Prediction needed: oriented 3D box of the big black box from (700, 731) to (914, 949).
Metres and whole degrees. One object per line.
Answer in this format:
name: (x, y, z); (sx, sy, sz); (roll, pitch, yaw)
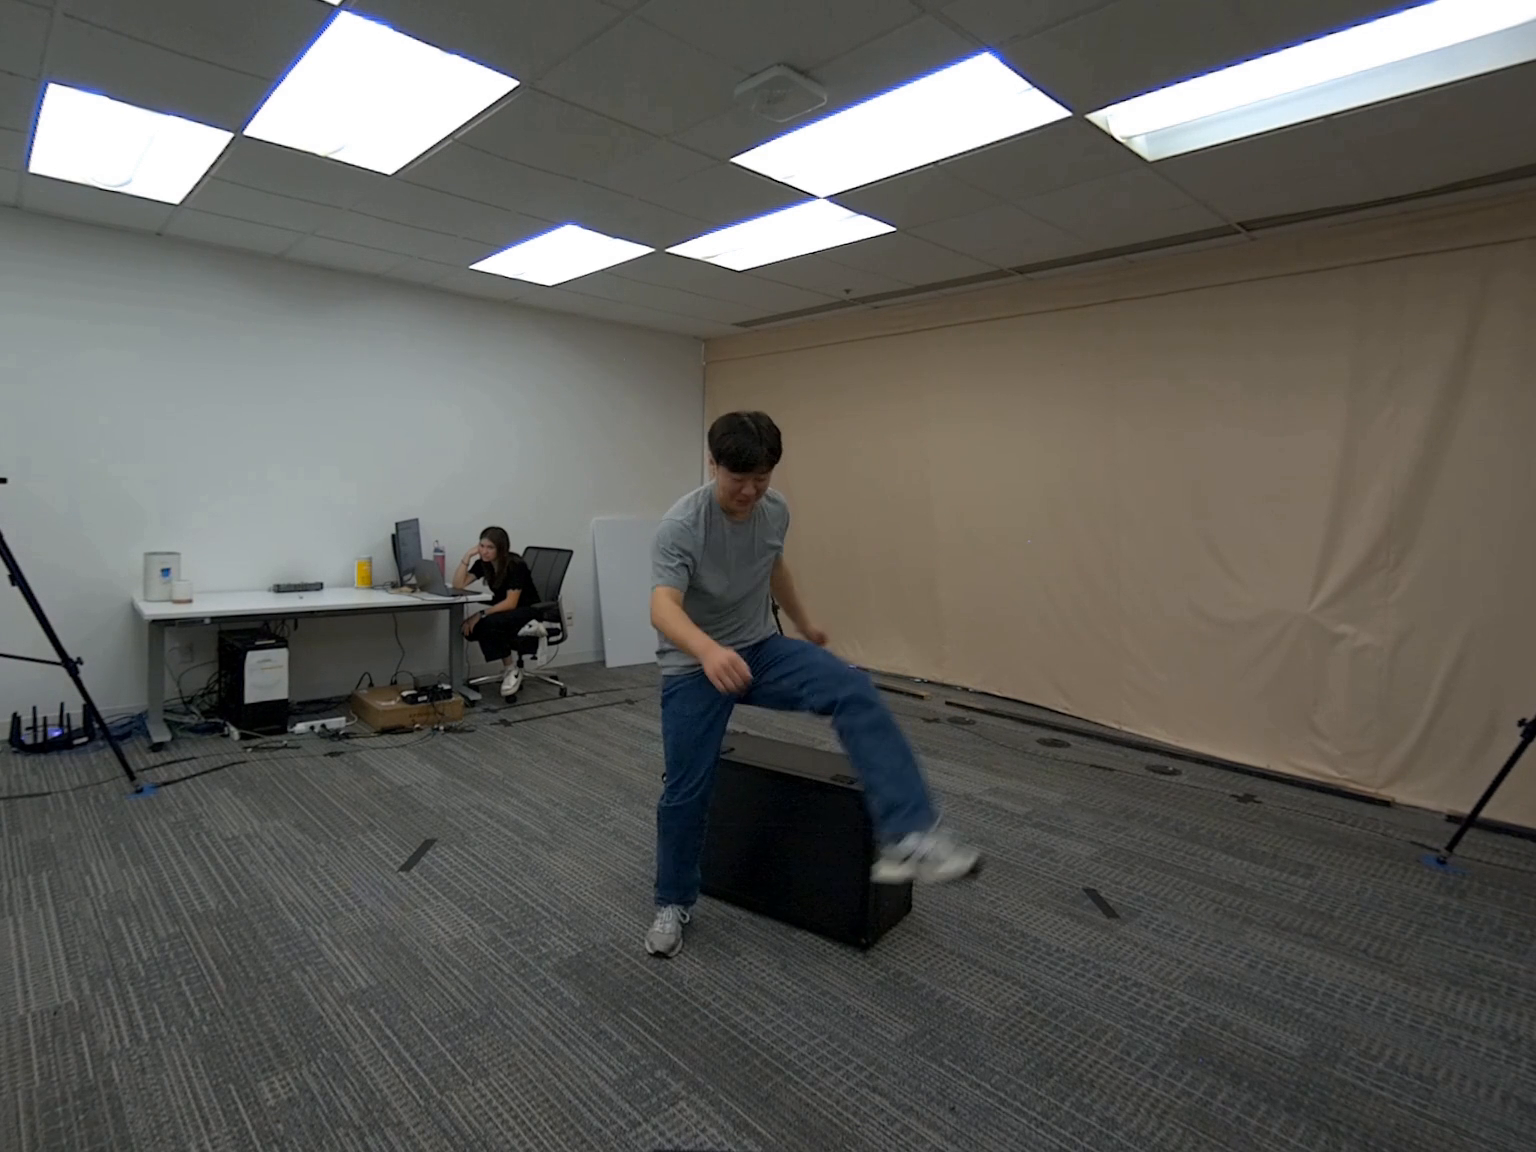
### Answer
big black box: (0.058, 0.867, 2.968); (0.882, 0.520, 0.387); (5, 2, 33)
